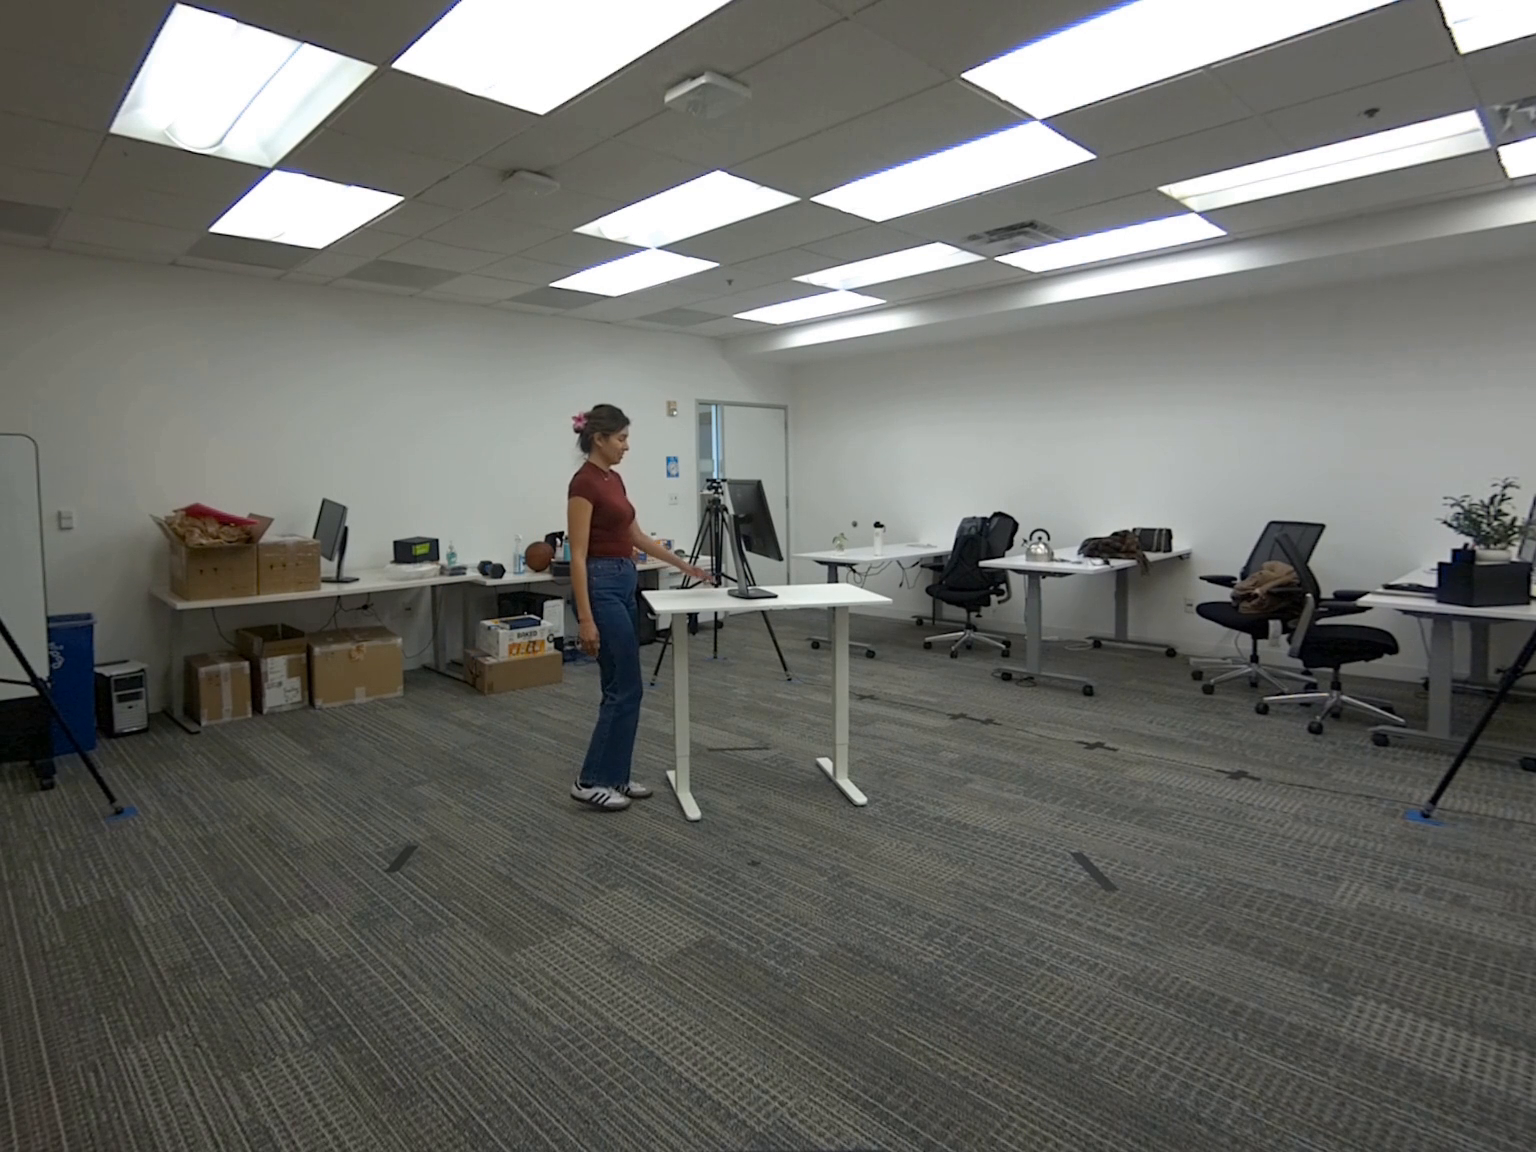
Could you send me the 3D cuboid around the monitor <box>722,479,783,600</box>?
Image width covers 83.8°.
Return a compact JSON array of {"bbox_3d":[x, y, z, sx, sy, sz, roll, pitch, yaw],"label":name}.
[{"bbox_3d":[-0.098,-0.167,3.780,0.184,0.520,0.550,-5,7,-18],"label":"monitor"}]
